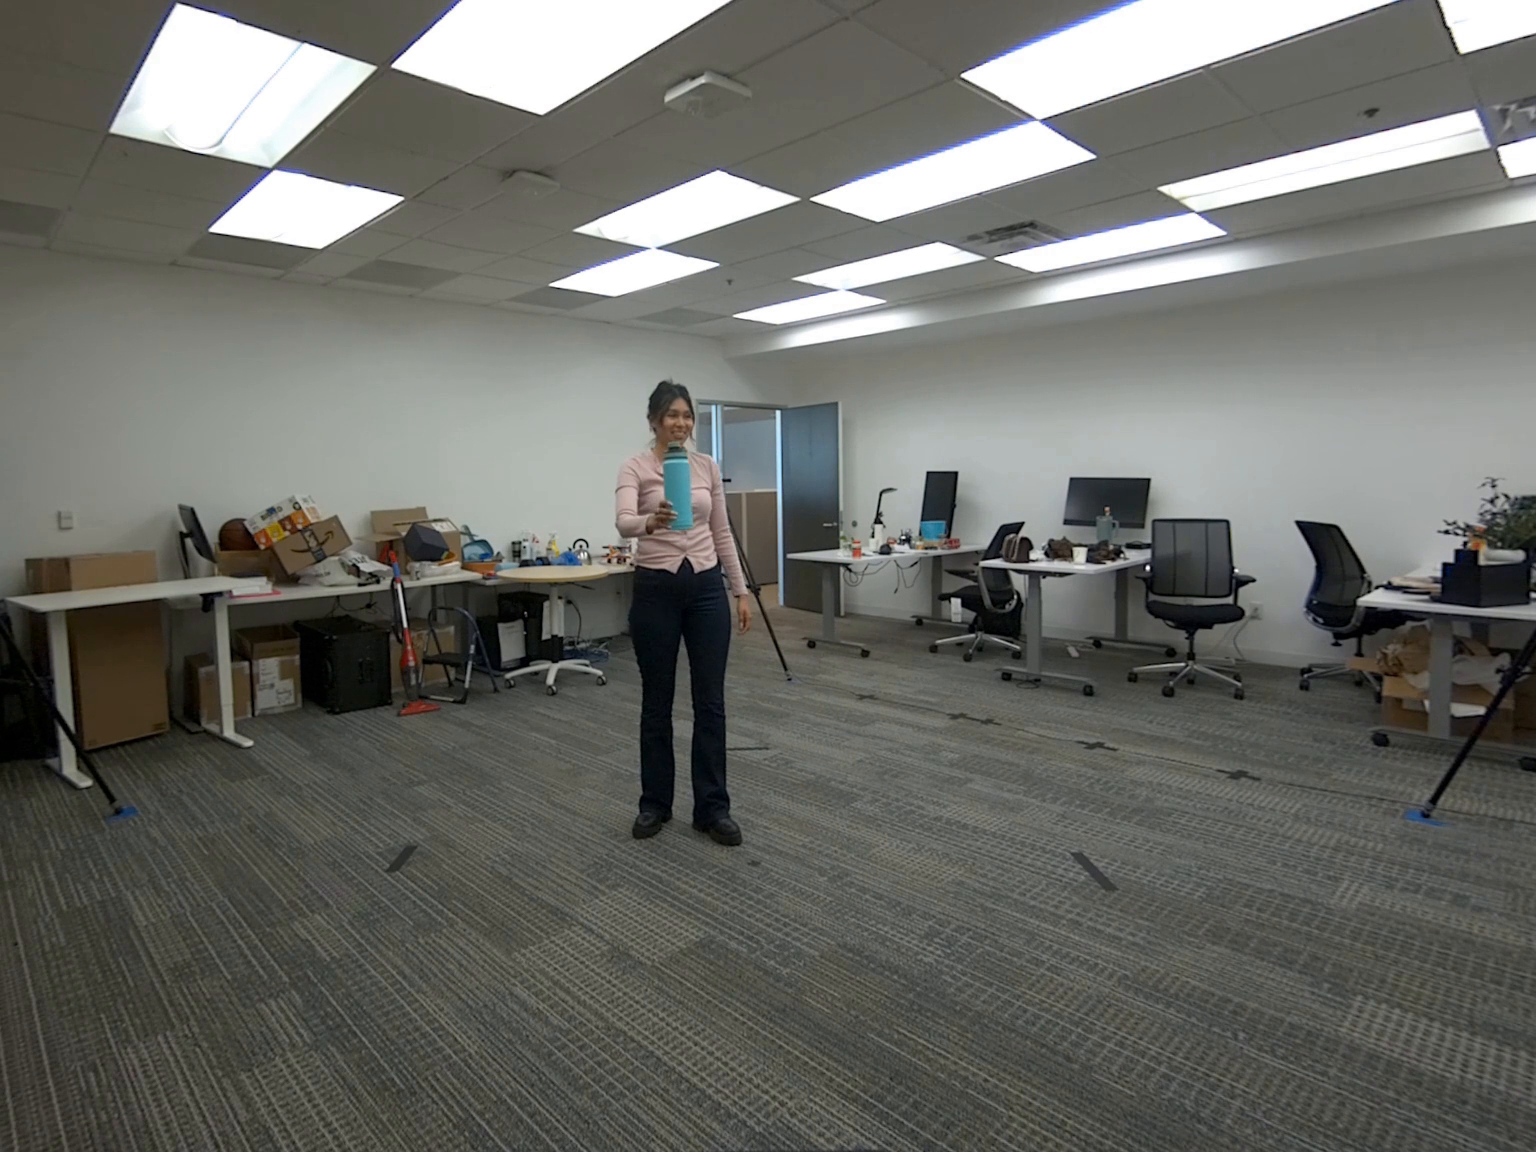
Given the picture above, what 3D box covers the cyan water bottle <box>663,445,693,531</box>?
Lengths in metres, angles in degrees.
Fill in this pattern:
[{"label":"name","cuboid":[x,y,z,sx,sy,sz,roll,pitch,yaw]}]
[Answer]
[{"label":"cyan water bottle","cuboid":[-0.297,-0.298,2.792,0.092,0.283,0.092,-4,0,-2]}]
